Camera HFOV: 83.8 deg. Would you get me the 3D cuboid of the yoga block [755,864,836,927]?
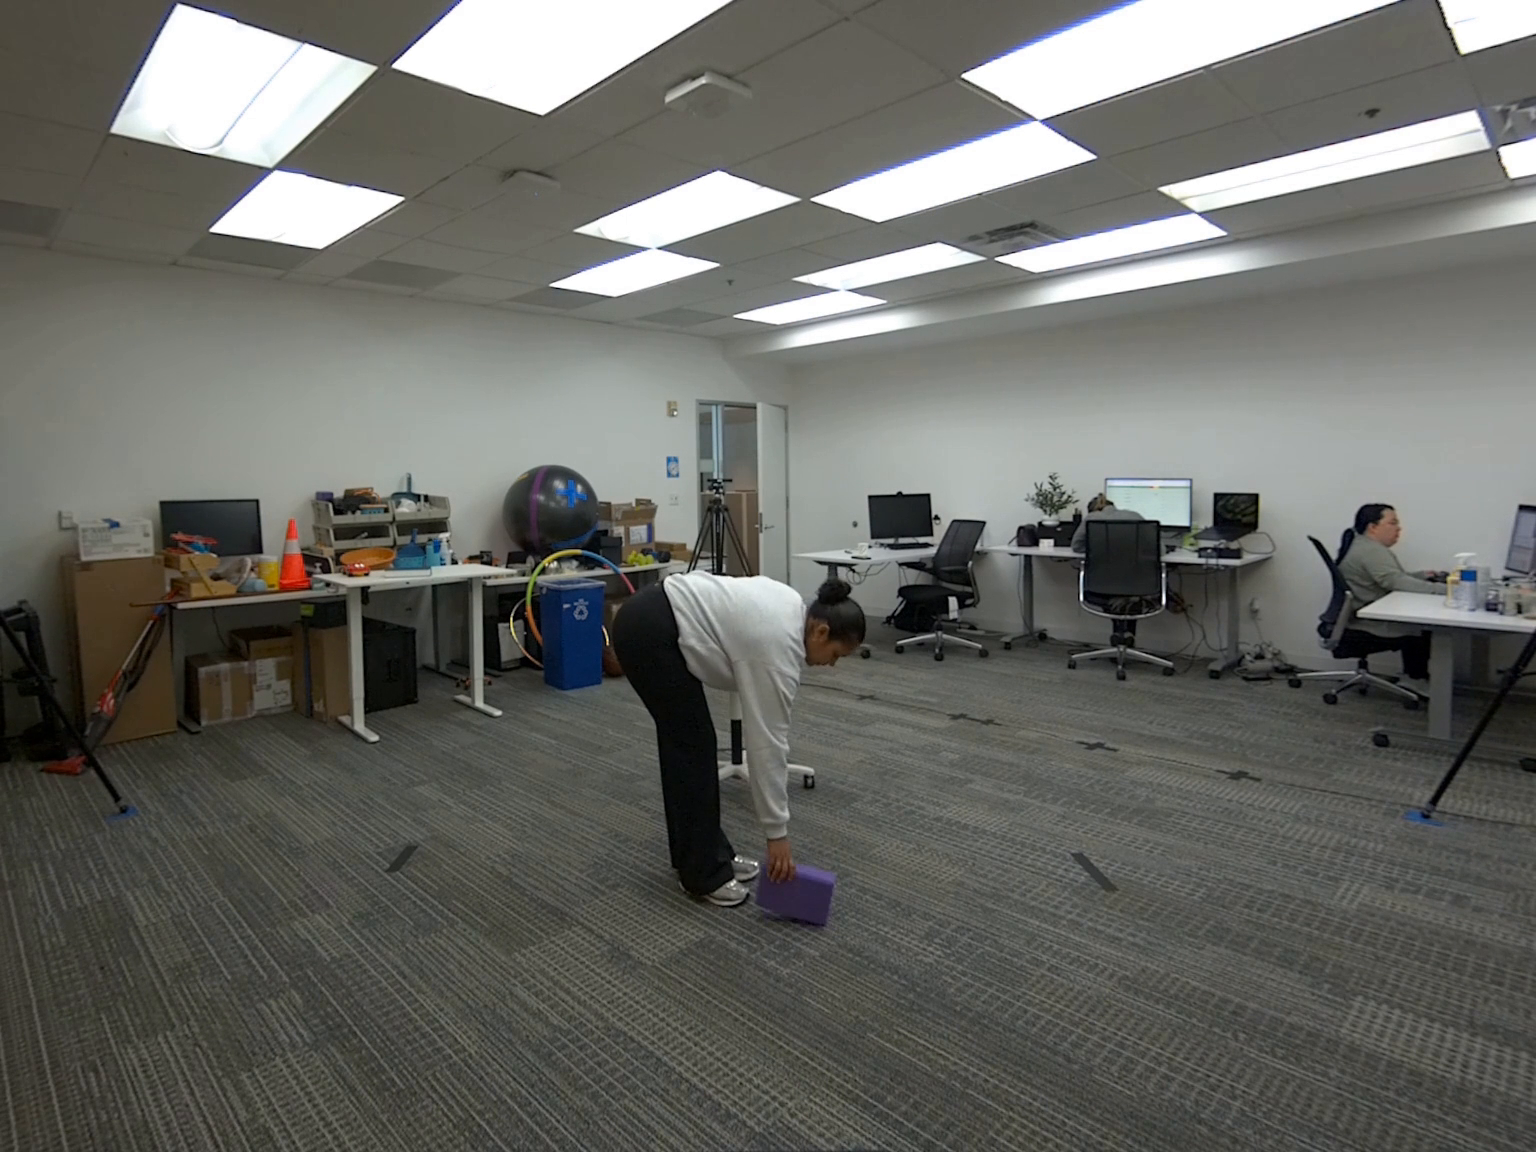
[{"bbox_3d":[0.089,0.967,2.697,0.232,0.148,0.076,11,6,9],"label":"yoga block"}]
